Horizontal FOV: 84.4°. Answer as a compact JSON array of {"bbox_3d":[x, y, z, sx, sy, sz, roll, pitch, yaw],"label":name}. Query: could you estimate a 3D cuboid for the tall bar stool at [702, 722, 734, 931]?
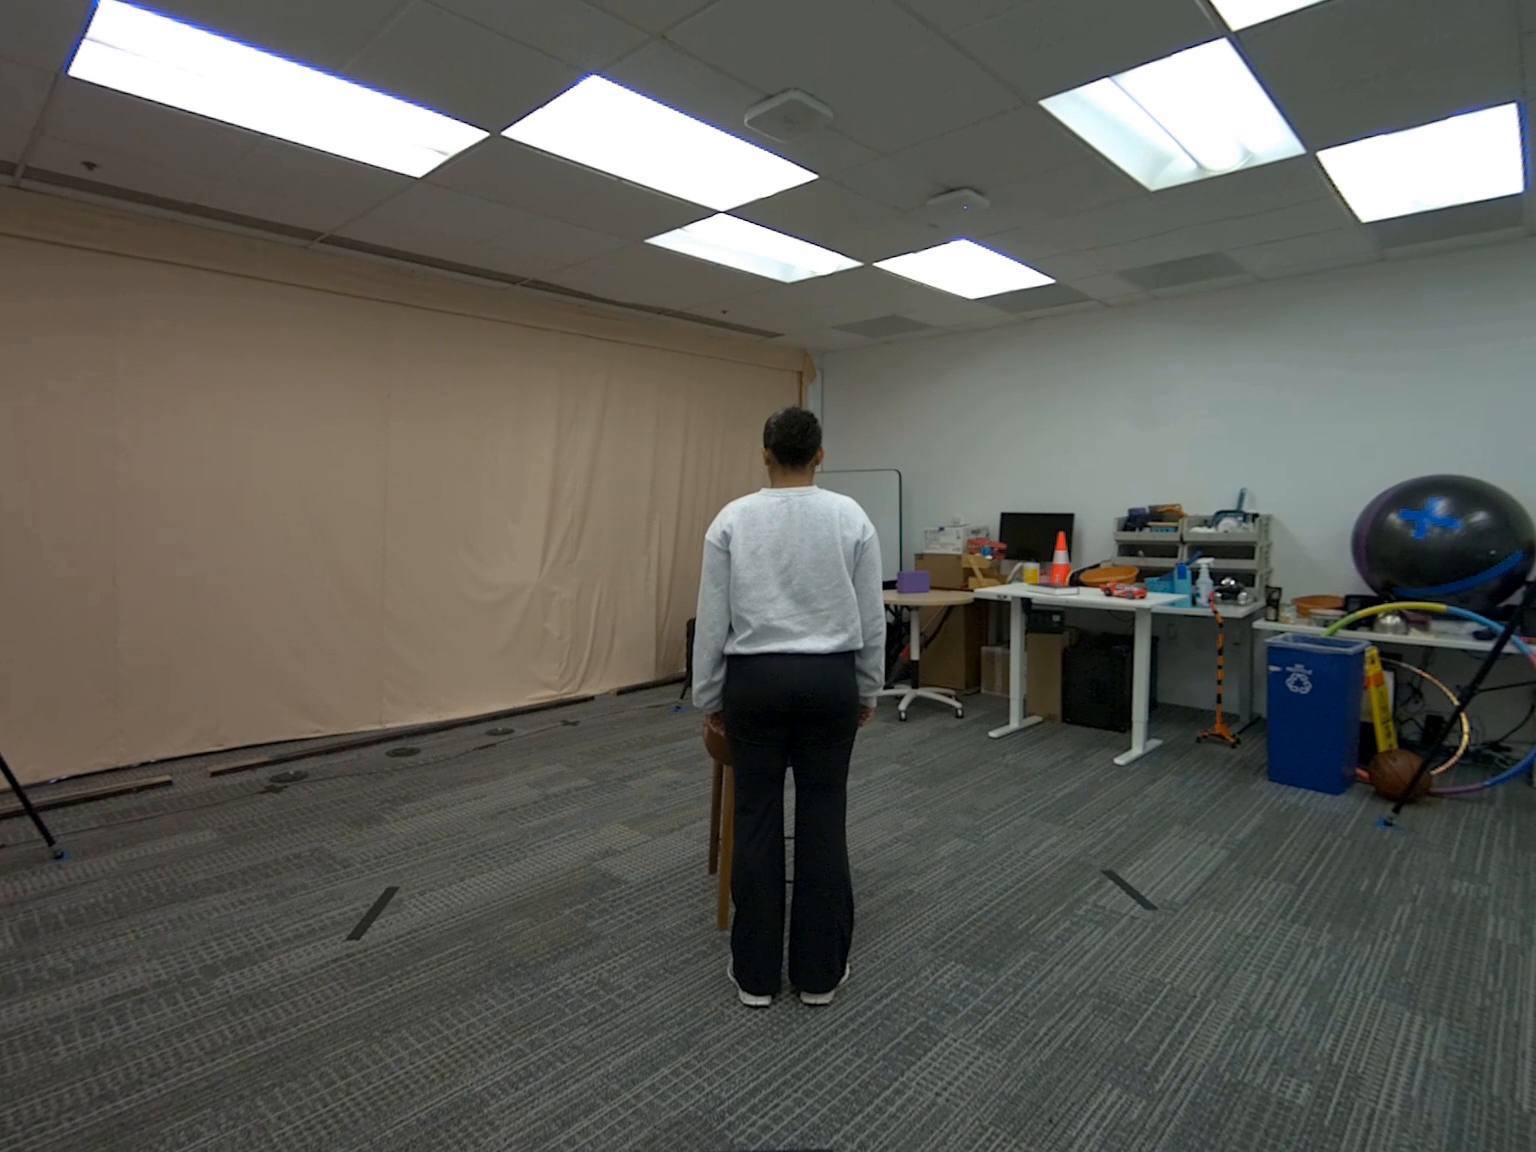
[{"bbox_3d":[-0.004,0.711,2.950,0.455,0.887,0.470,0,5,-3],"label":"tall bar stool"}]
